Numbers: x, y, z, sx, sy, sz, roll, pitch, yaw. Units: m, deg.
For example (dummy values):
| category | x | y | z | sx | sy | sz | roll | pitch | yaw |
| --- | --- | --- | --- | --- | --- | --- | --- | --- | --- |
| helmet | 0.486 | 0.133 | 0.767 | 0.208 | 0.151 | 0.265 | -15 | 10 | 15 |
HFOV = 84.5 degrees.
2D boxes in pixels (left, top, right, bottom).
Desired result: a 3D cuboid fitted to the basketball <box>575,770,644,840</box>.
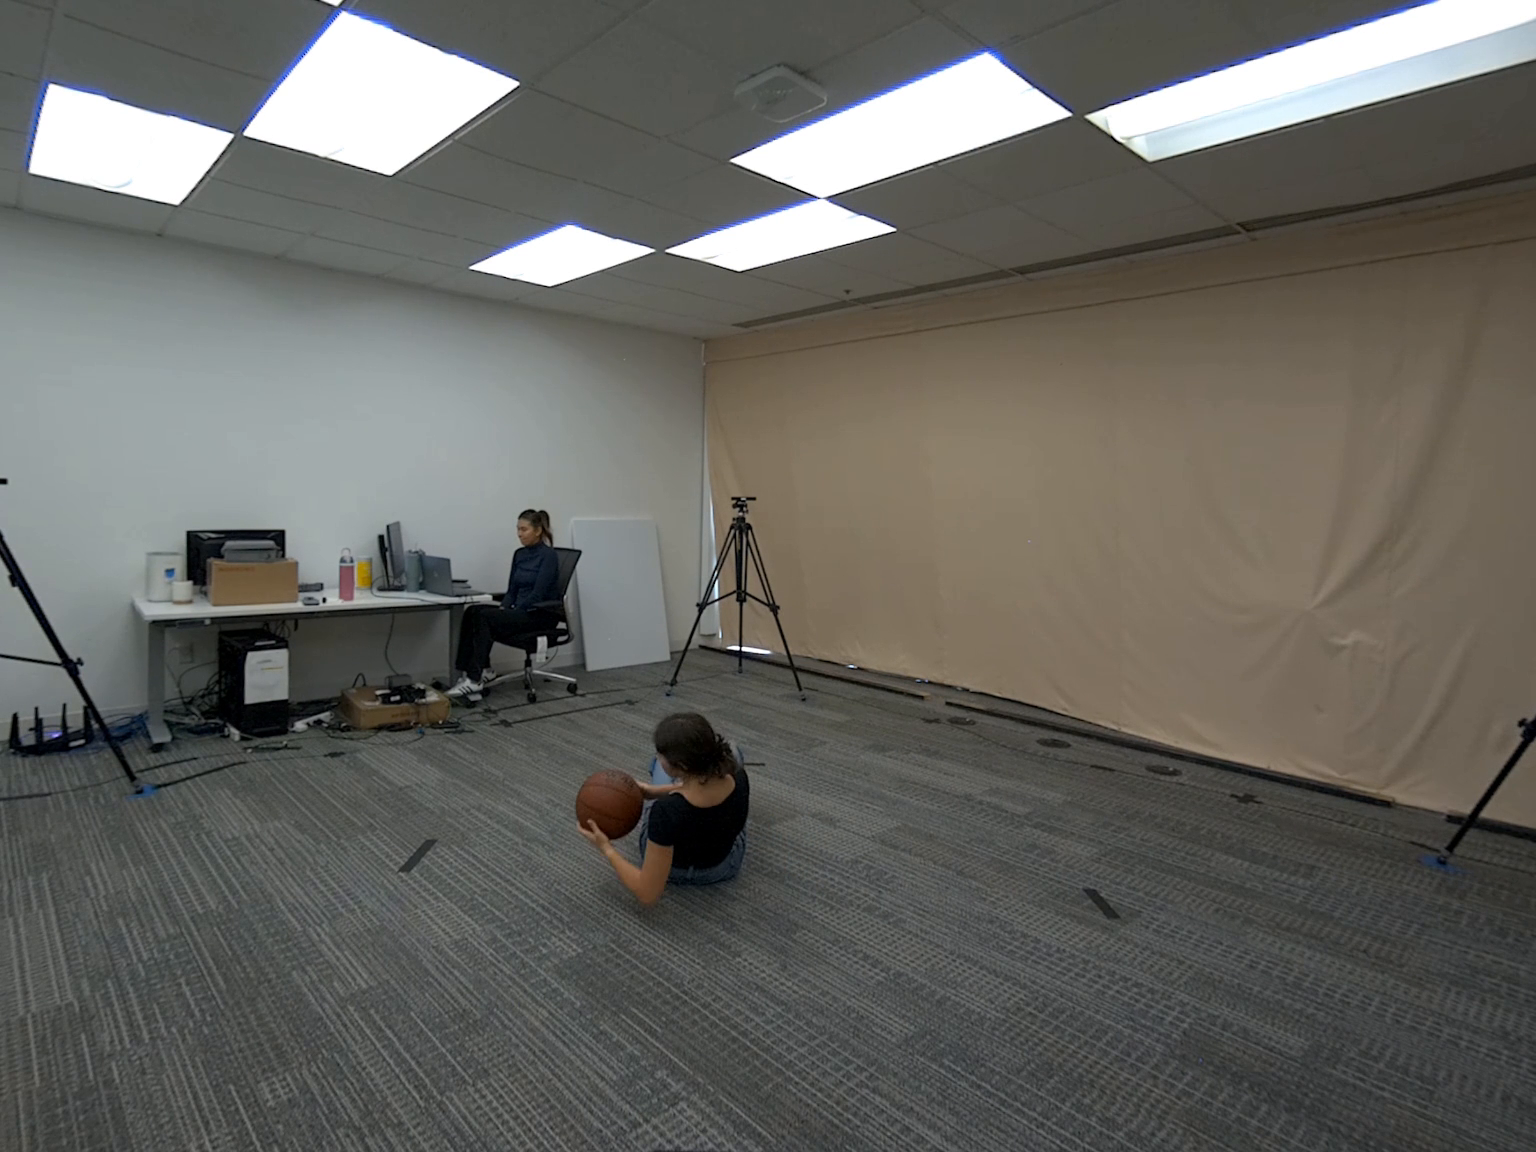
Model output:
| category | x | y | z | sx | sy | sz | roll | pitch | yaw |
| --- | --- | --- | --- | --- | --- | --- | --- | --- | --- |
| basketball | -0.553 | 0.804 | 2.971 | 0.236 | 0.235 | 0.237 | 1 | 4 | -1 |
